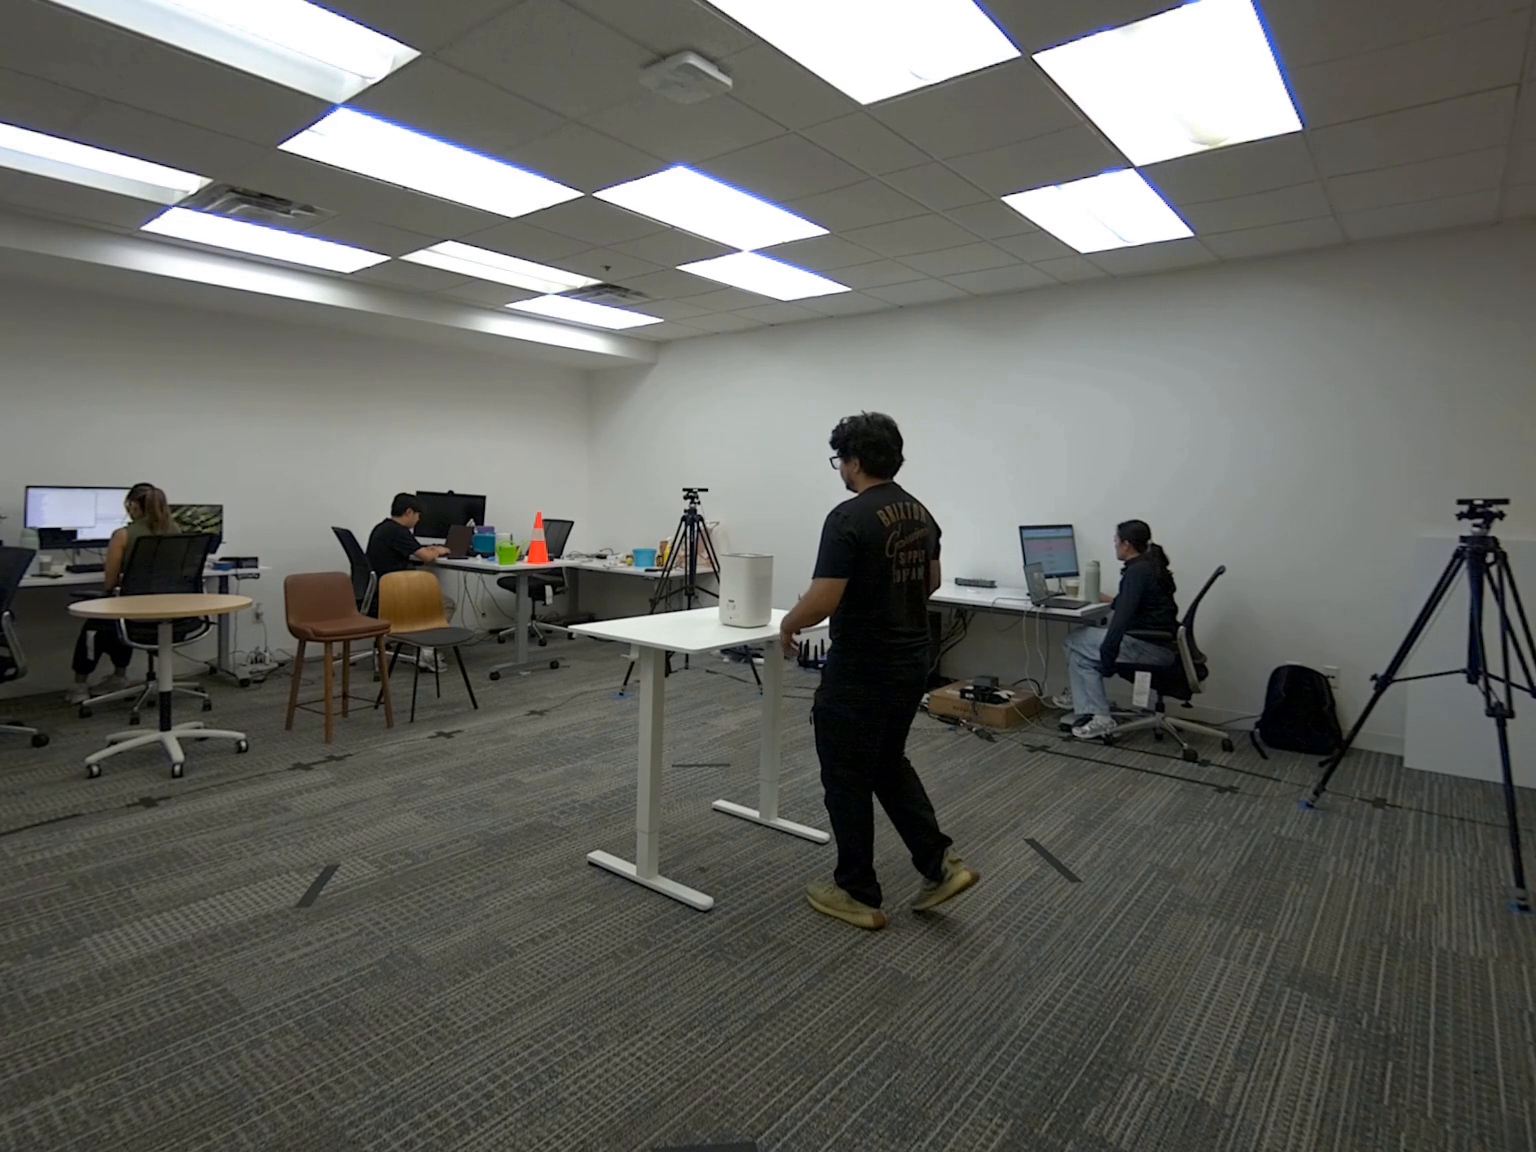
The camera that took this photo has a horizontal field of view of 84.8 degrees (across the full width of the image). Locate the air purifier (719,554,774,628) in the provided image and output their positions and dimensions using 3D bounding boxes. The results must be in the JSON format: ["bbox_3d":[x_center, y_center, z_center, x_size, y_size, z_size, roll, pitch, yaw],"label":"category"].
[{"bbox_3d":[-0.094,0.048,3.198,0.176,0.265,0.166,3,2,37],"label":"air purifier"}]
